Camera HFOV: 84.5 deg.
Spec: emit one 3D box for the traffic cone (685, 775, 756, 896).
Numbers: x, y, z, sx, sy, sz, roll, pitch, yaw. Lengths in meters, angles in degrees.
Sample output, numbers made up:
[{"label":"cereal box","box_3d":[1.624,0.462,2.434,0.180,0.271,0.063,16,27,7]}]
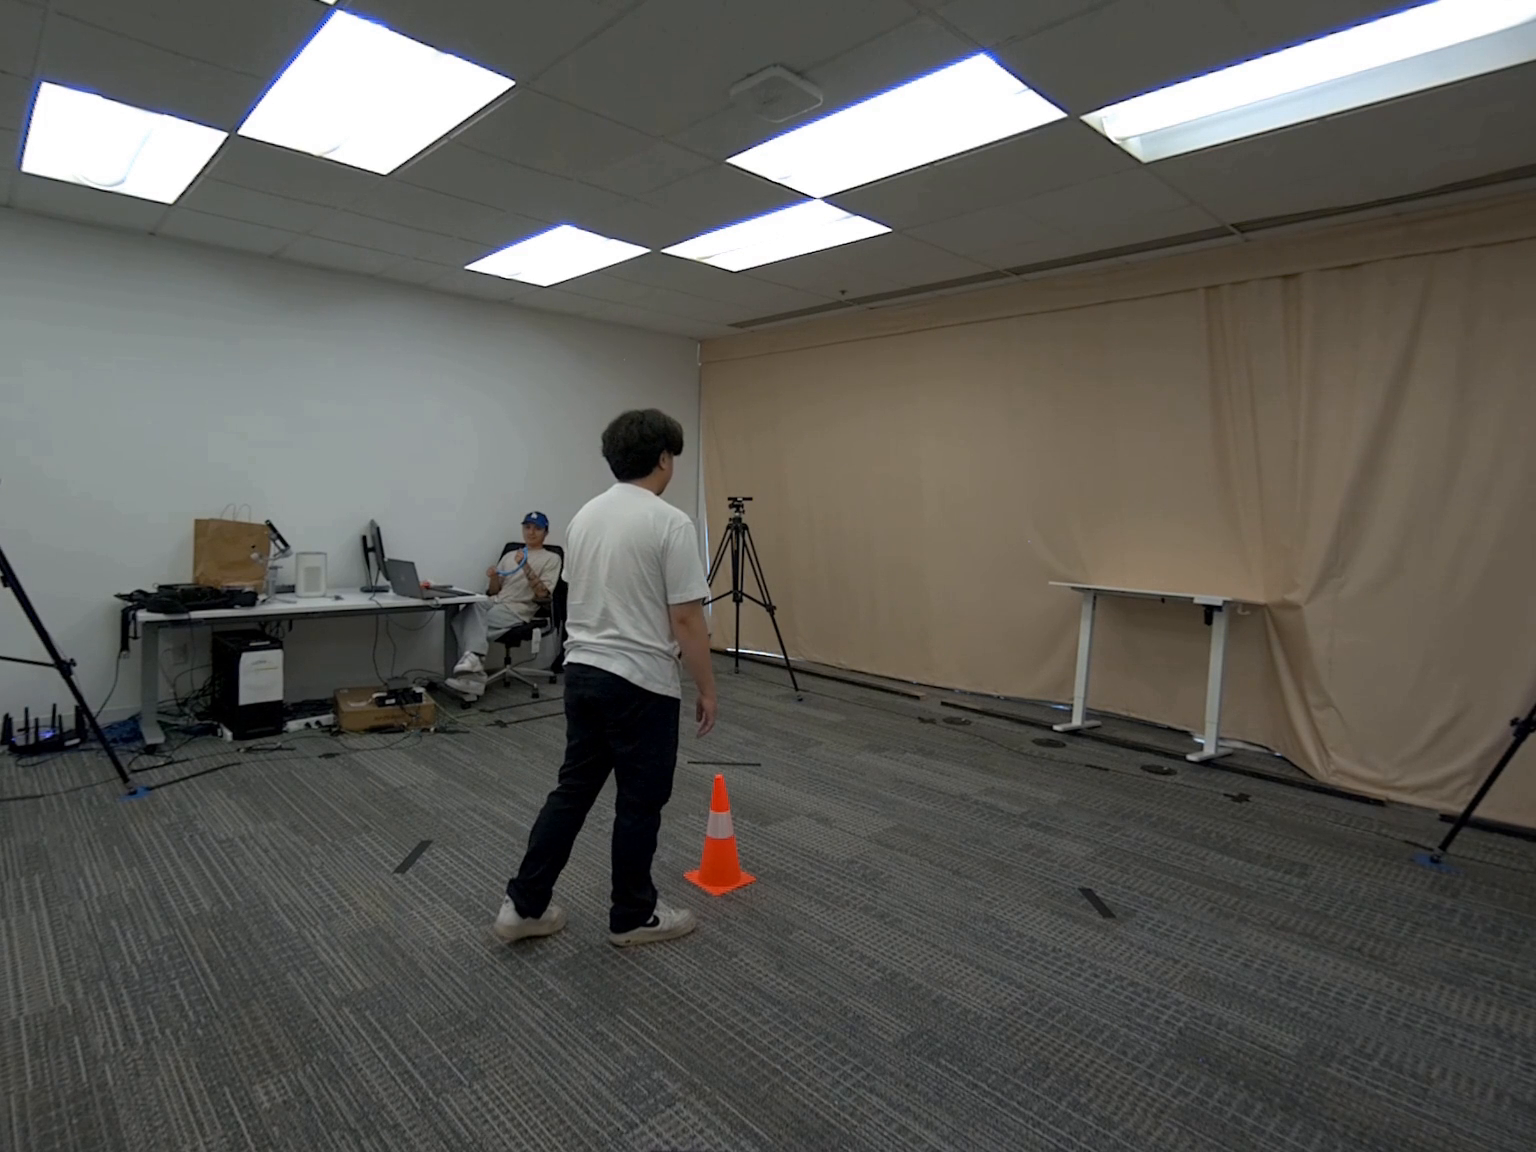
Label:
[{"label":"traffic cone","box_3d":[-0.185,0.926,3.078,0.210,0.383,0.199,3,4,41]}]
